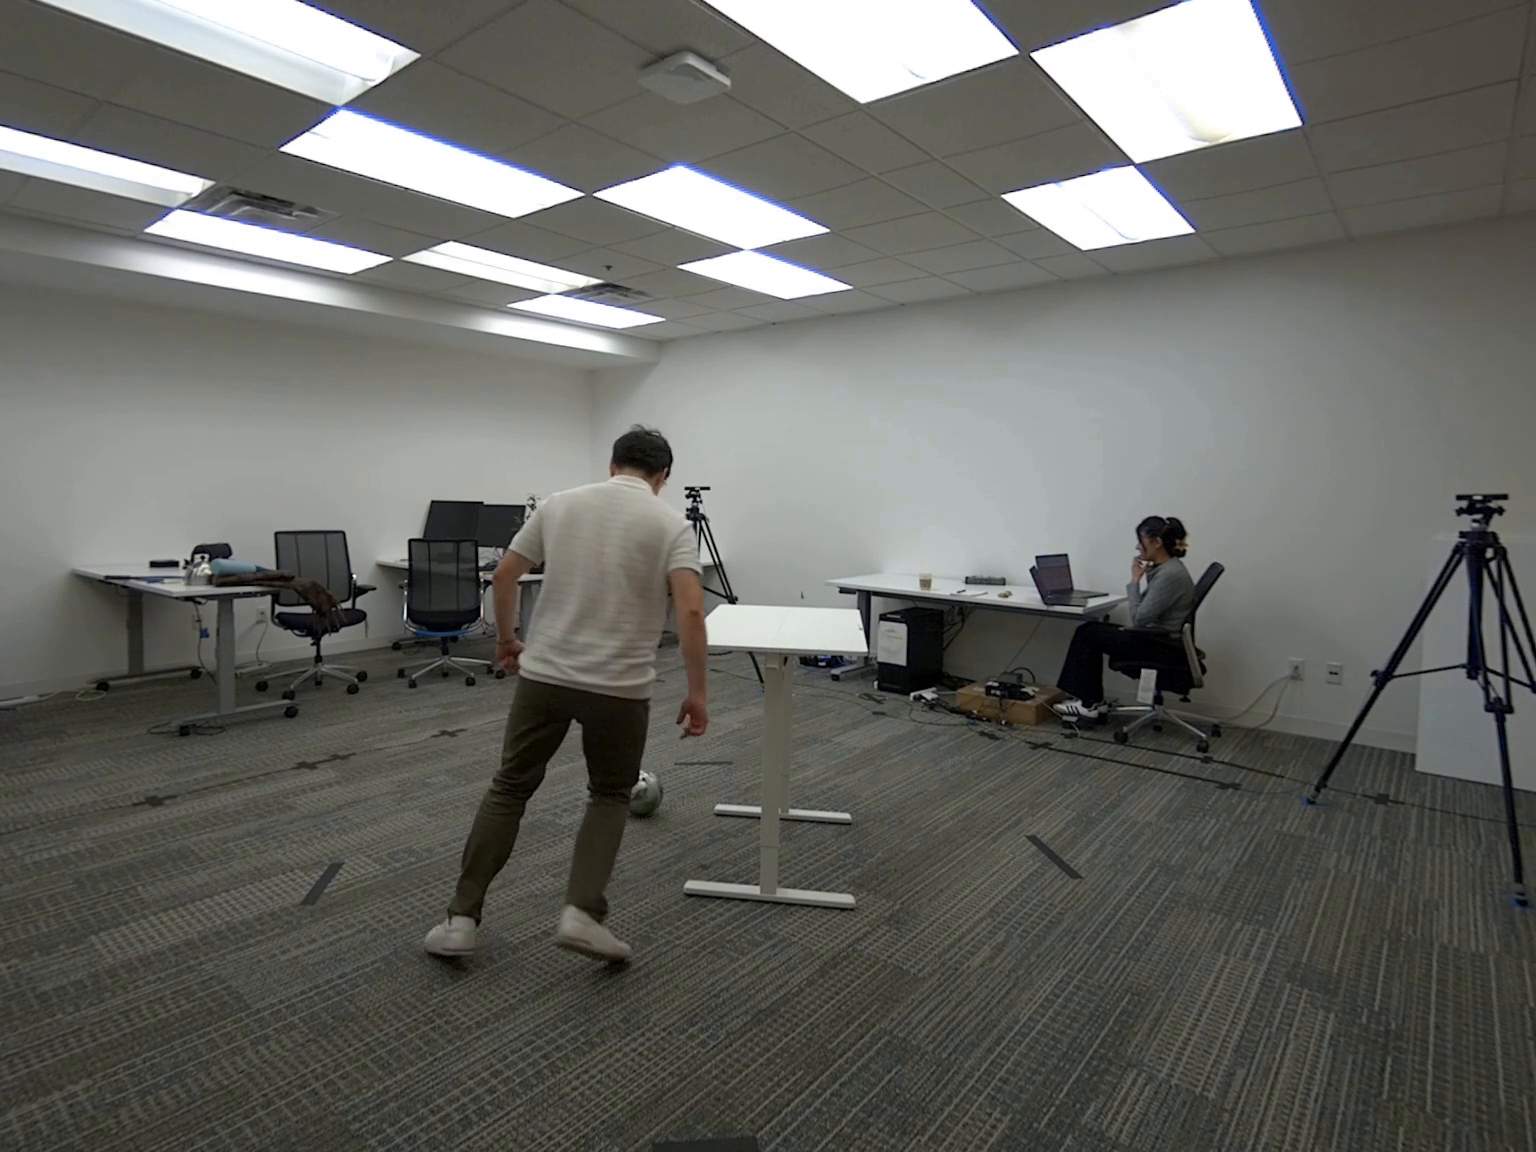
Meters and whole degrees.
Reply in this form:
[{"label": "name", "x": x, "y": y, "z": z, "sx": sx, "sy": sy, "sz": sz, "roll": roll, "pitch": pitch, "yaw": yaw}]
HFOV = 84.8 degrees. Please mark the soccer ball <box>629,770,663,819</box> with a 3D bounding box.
[{"label": "soccer ball", "x": -0.548, "y": 0.911, "z": 3.610, "sx": 0.187, "sy": 0.187, "sz": 0.188, "roll": 1, "pitch": 4, "yaw": -2}]
